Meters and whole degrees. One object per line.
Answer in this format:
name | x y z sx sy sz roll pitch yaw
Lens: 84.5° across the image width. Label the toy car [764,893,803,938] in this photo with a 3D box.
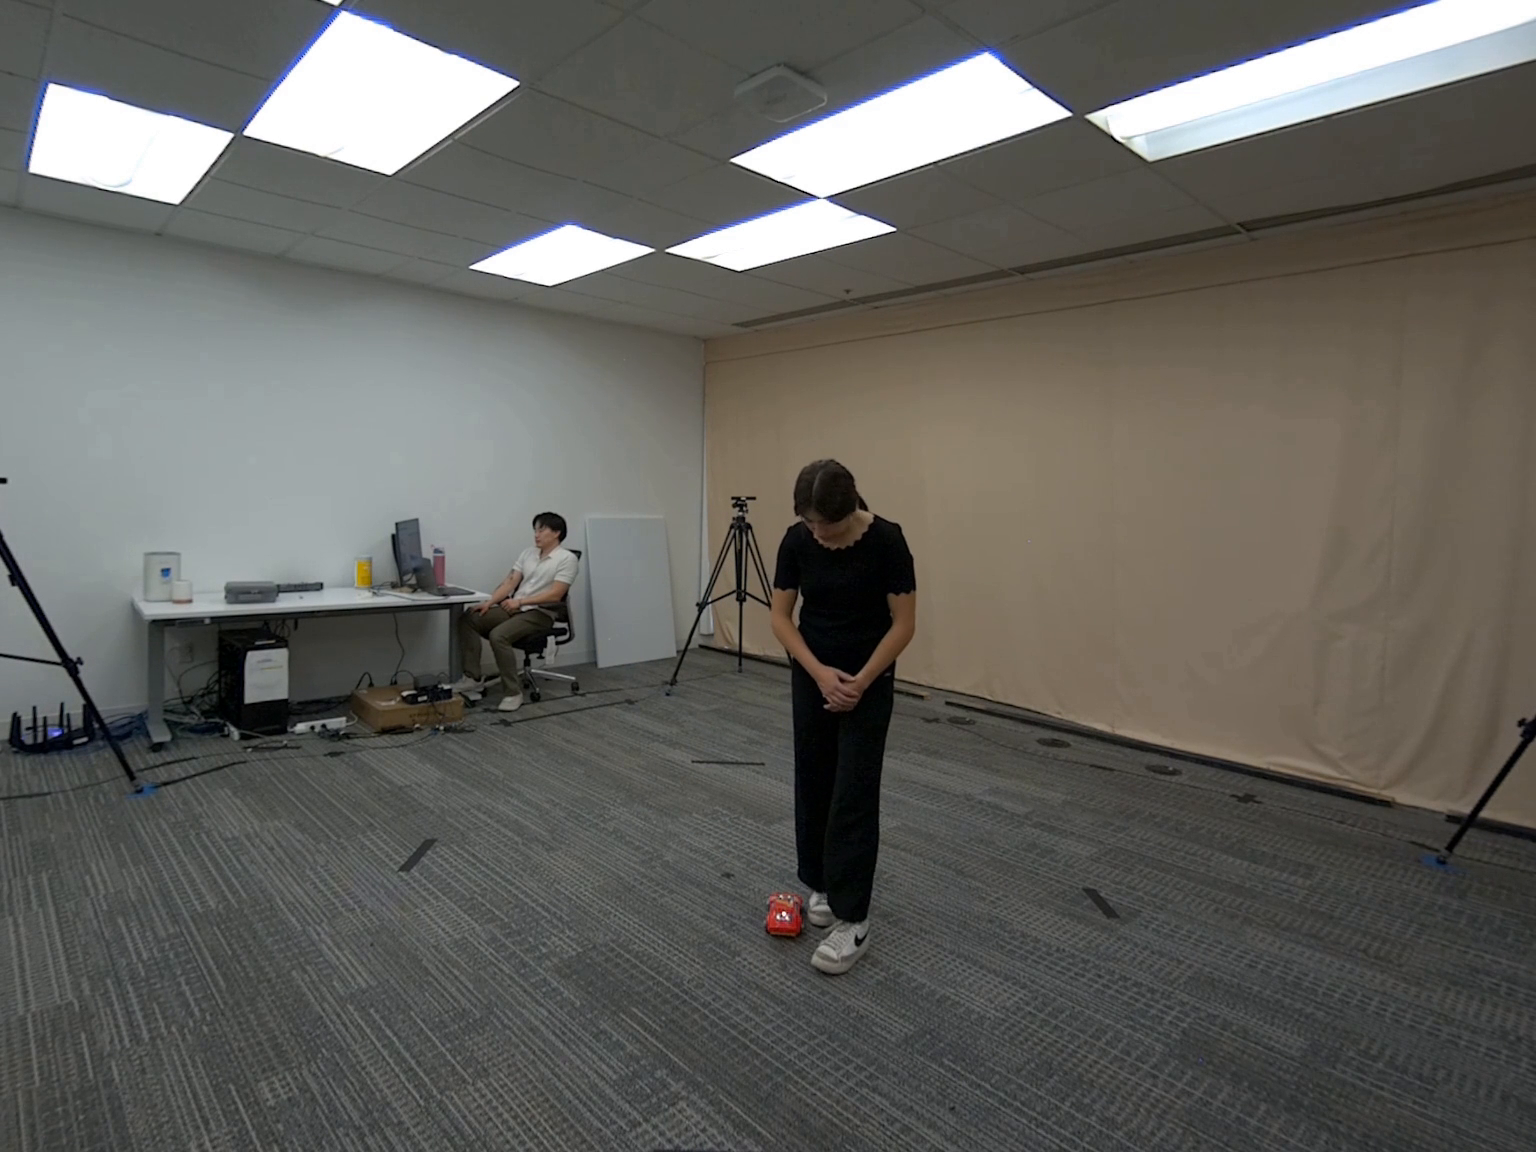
toy car | 0.050 1.106 2.748 0.131 0.083 0.252 1 -6 5
